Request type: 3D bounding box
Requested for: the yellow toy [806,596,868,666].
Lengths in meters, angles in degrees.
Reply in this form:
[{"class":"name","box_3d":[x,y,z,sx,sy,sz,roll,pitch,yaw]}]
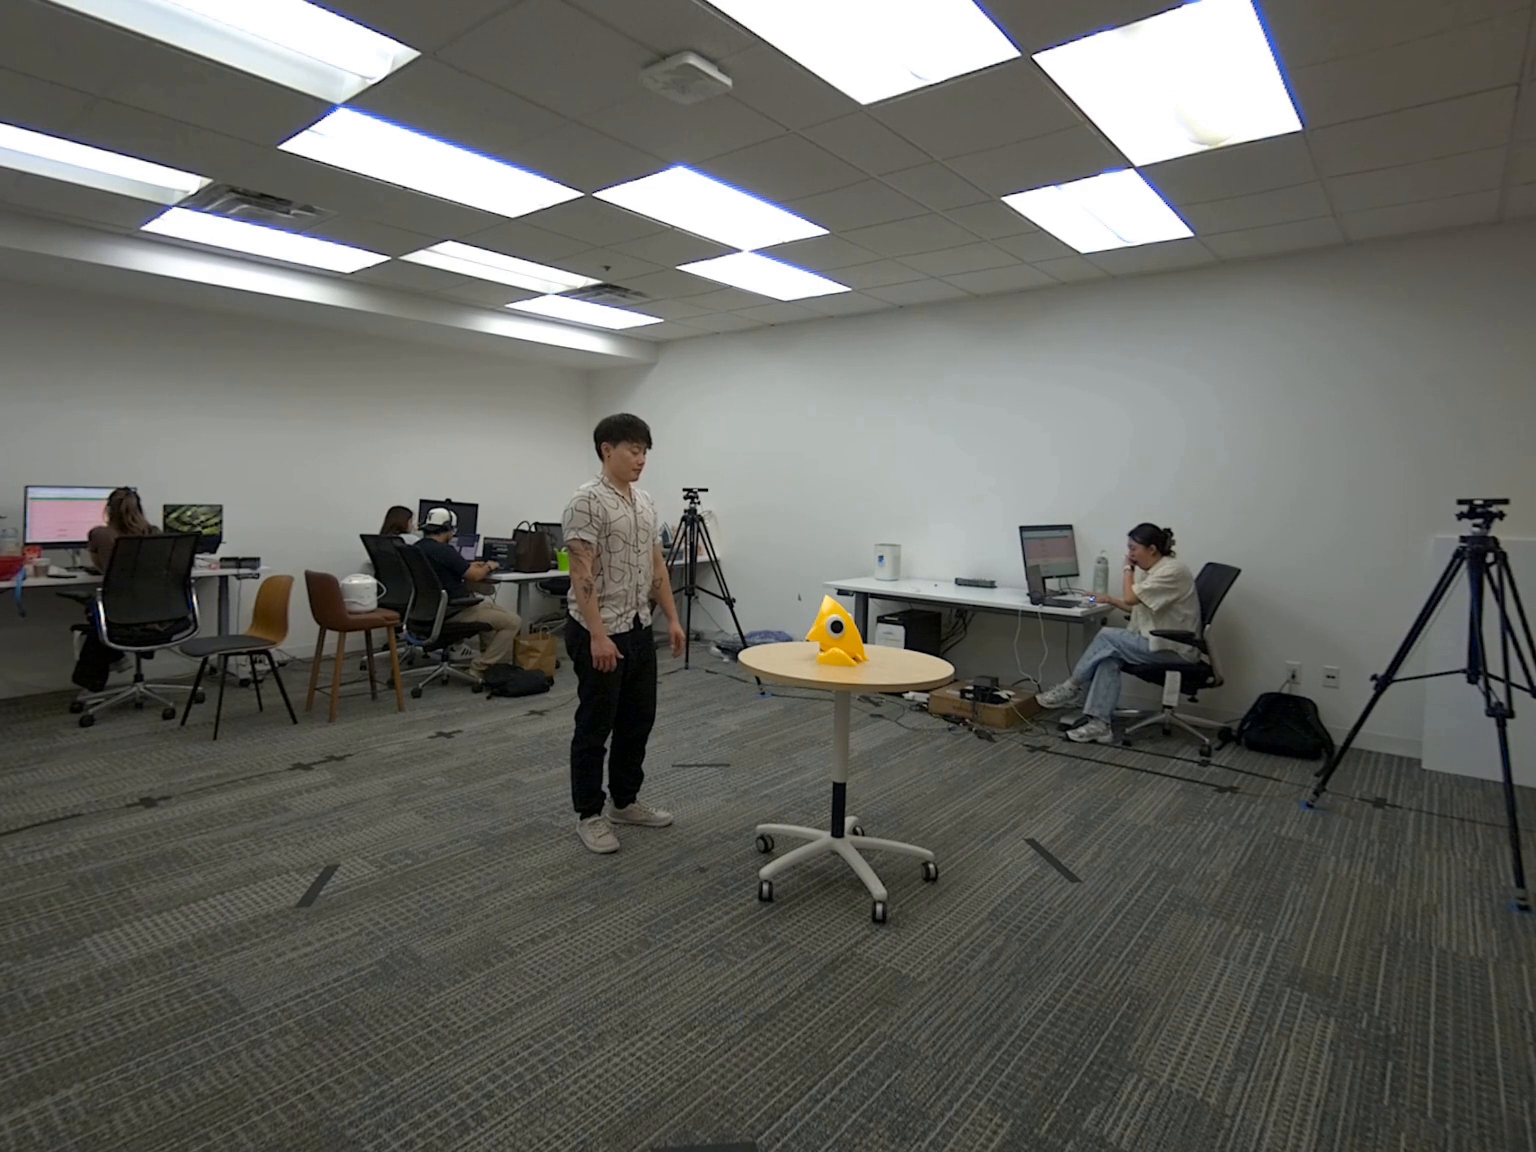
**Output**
[{"class":"yellow toy","box_3d":[0.253,0.188,3.063,0.198,0.230,0.199,4,4,27]}]
